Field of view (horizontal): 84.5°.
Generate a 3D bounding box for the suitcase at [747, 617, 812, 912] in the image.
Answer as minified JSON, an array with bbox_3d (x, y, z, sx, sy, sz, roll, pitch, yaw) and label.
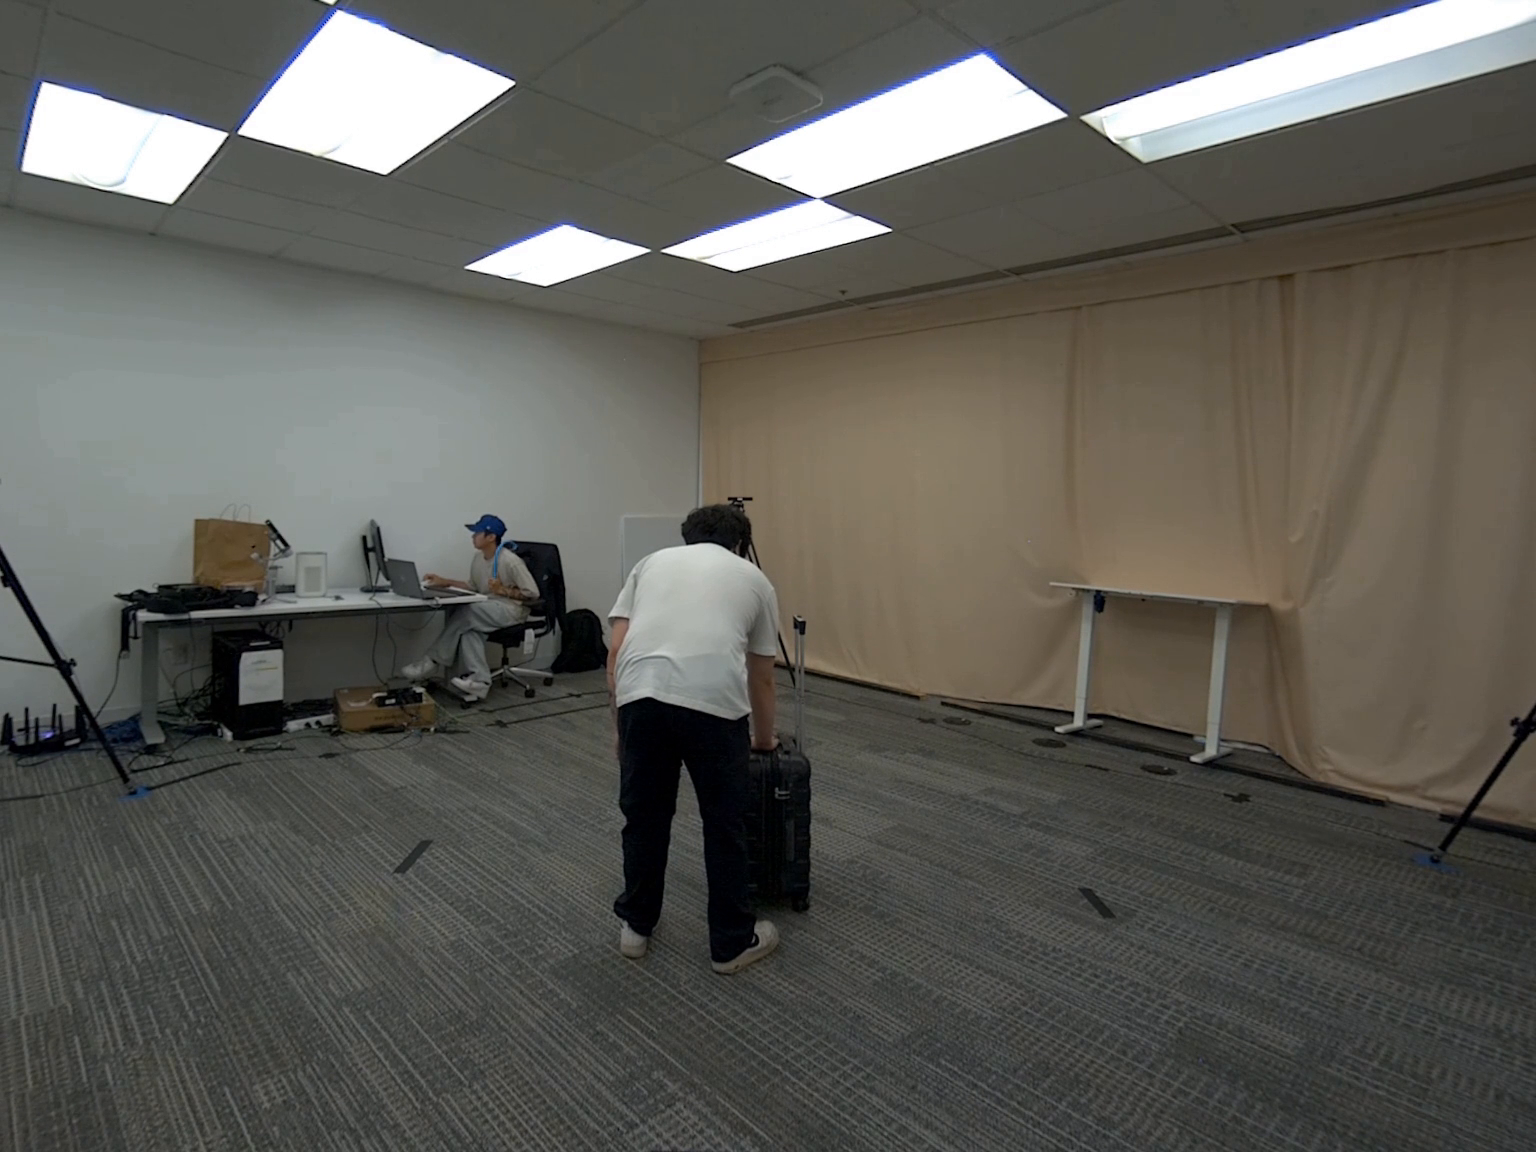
[{"bbox_3d":[0.004,0.650,2.948,0.256,0.976,0.386,-2,3,-4],"label":"suitcase"}]
